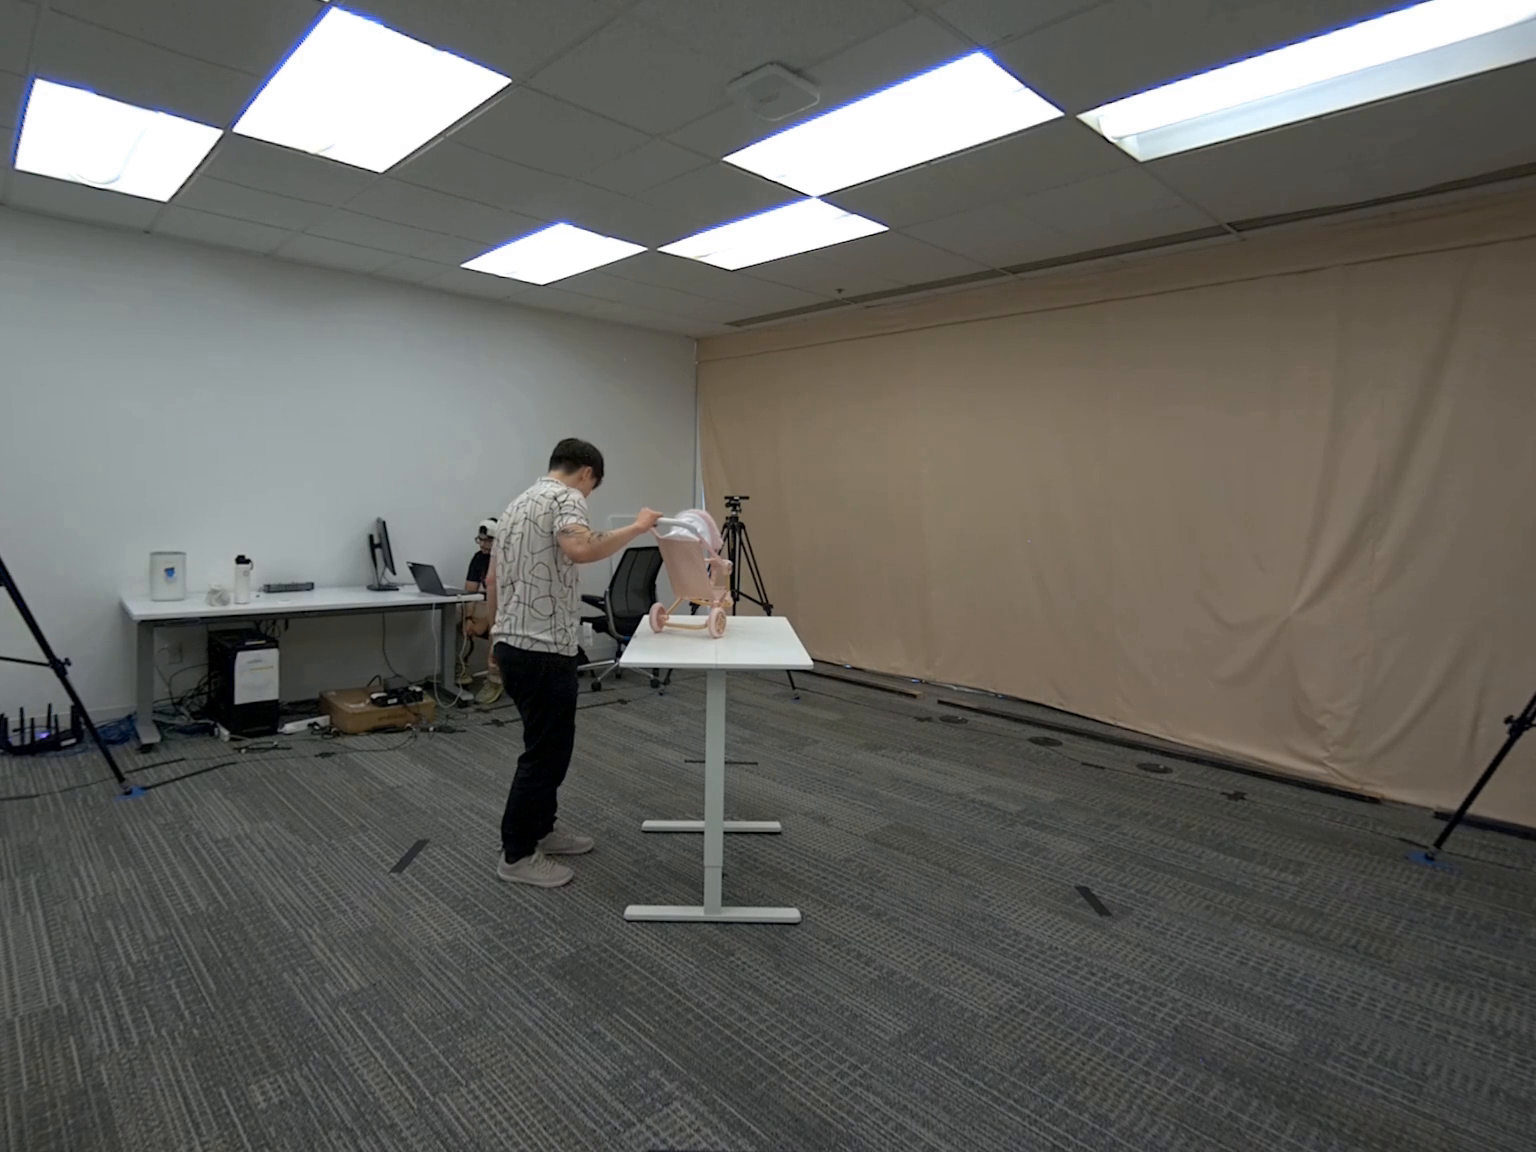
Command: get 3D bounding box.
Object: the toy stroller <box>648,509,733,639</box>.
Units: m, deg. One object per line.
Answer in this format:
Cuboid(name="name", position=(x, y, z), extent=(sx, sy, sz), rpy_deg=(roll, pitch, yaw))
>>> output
Cuboid(name="toy stroller", position=(-0.279, -0.011, 3.146), extent=(0.287, 0.528, 0.338), rpy_deg=(4, 19, 29))
